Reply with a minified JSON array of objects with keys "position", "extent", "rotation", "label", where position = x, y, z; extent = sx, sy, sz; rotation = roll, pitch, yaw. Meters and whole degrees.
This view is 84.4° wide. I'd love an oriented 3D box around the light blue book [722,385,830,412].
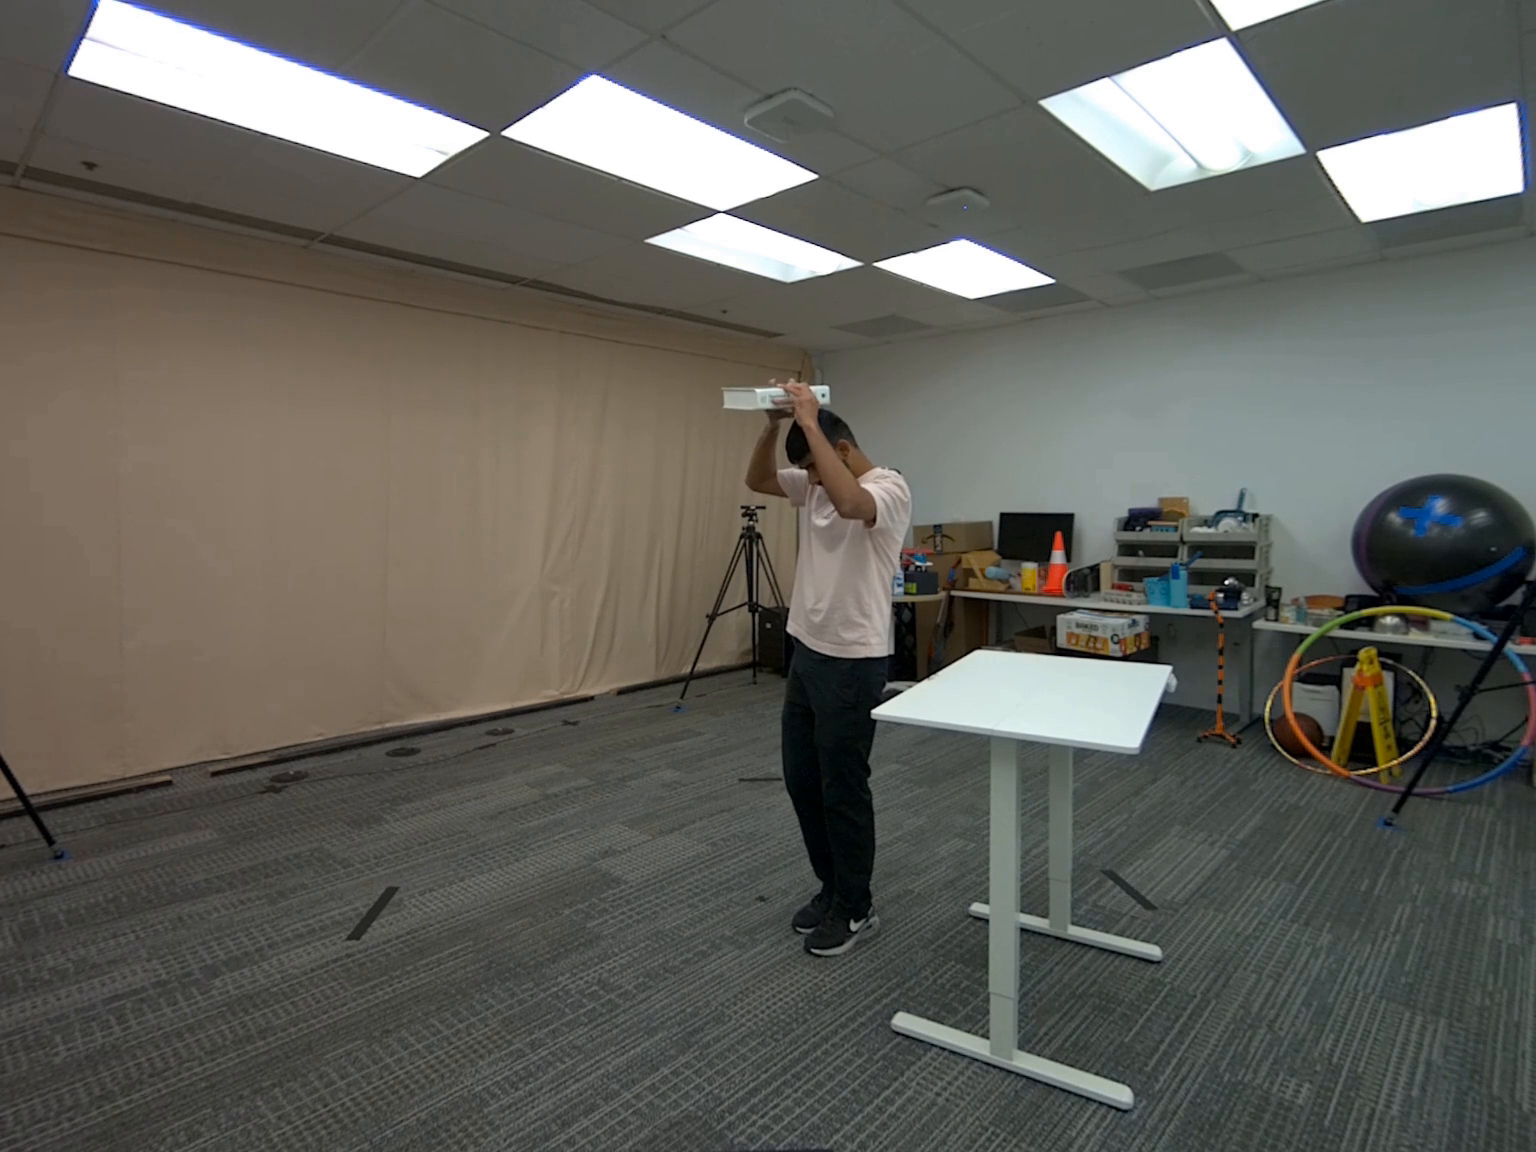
[{"position":[0.026,-0.534,2.513],"extent":[0.255,0.058,0.197],"rotation":[-9,16,-27],"label":"light blue book"}]
